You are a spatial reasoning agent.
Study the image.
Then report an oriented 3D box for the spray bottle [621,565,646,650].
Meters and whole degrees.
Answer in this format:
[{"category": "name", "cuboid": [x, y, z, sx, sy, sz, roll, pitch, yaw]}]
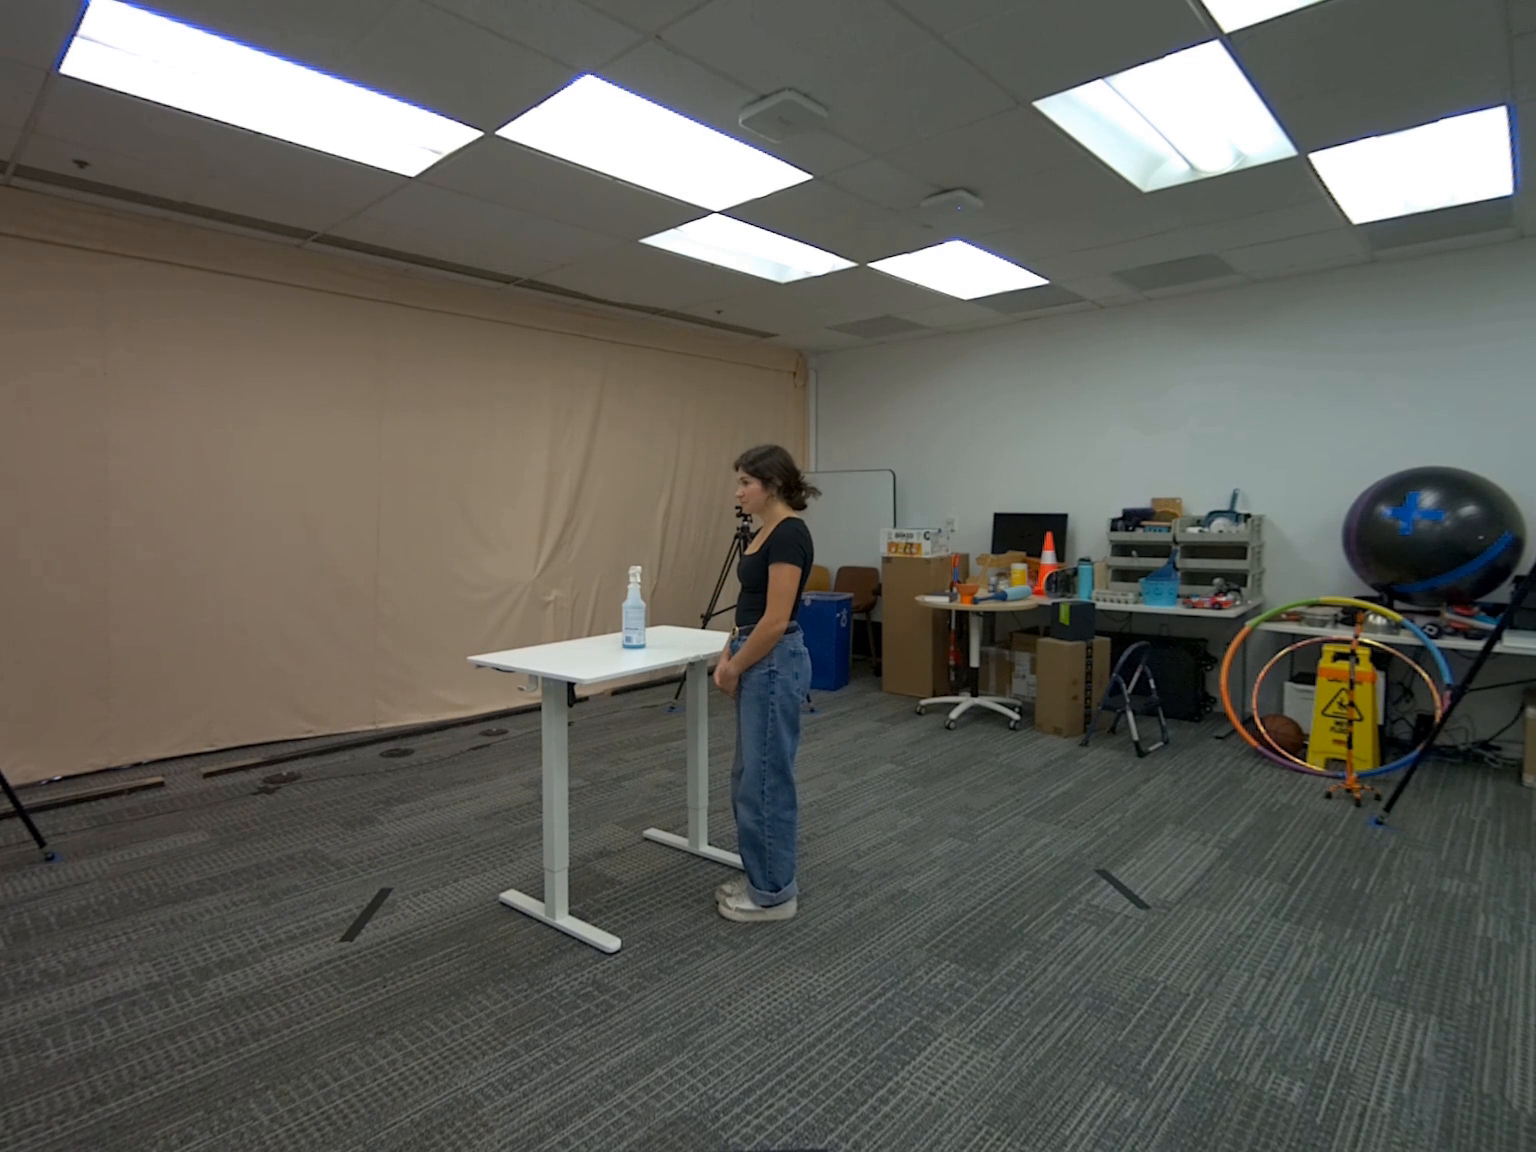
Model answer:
[{"category": "spray bottle", "cuboid": [-0.486, 0.116, 3.072, 0.087, 0.297, 0.090, 0, 2, -3]}]
